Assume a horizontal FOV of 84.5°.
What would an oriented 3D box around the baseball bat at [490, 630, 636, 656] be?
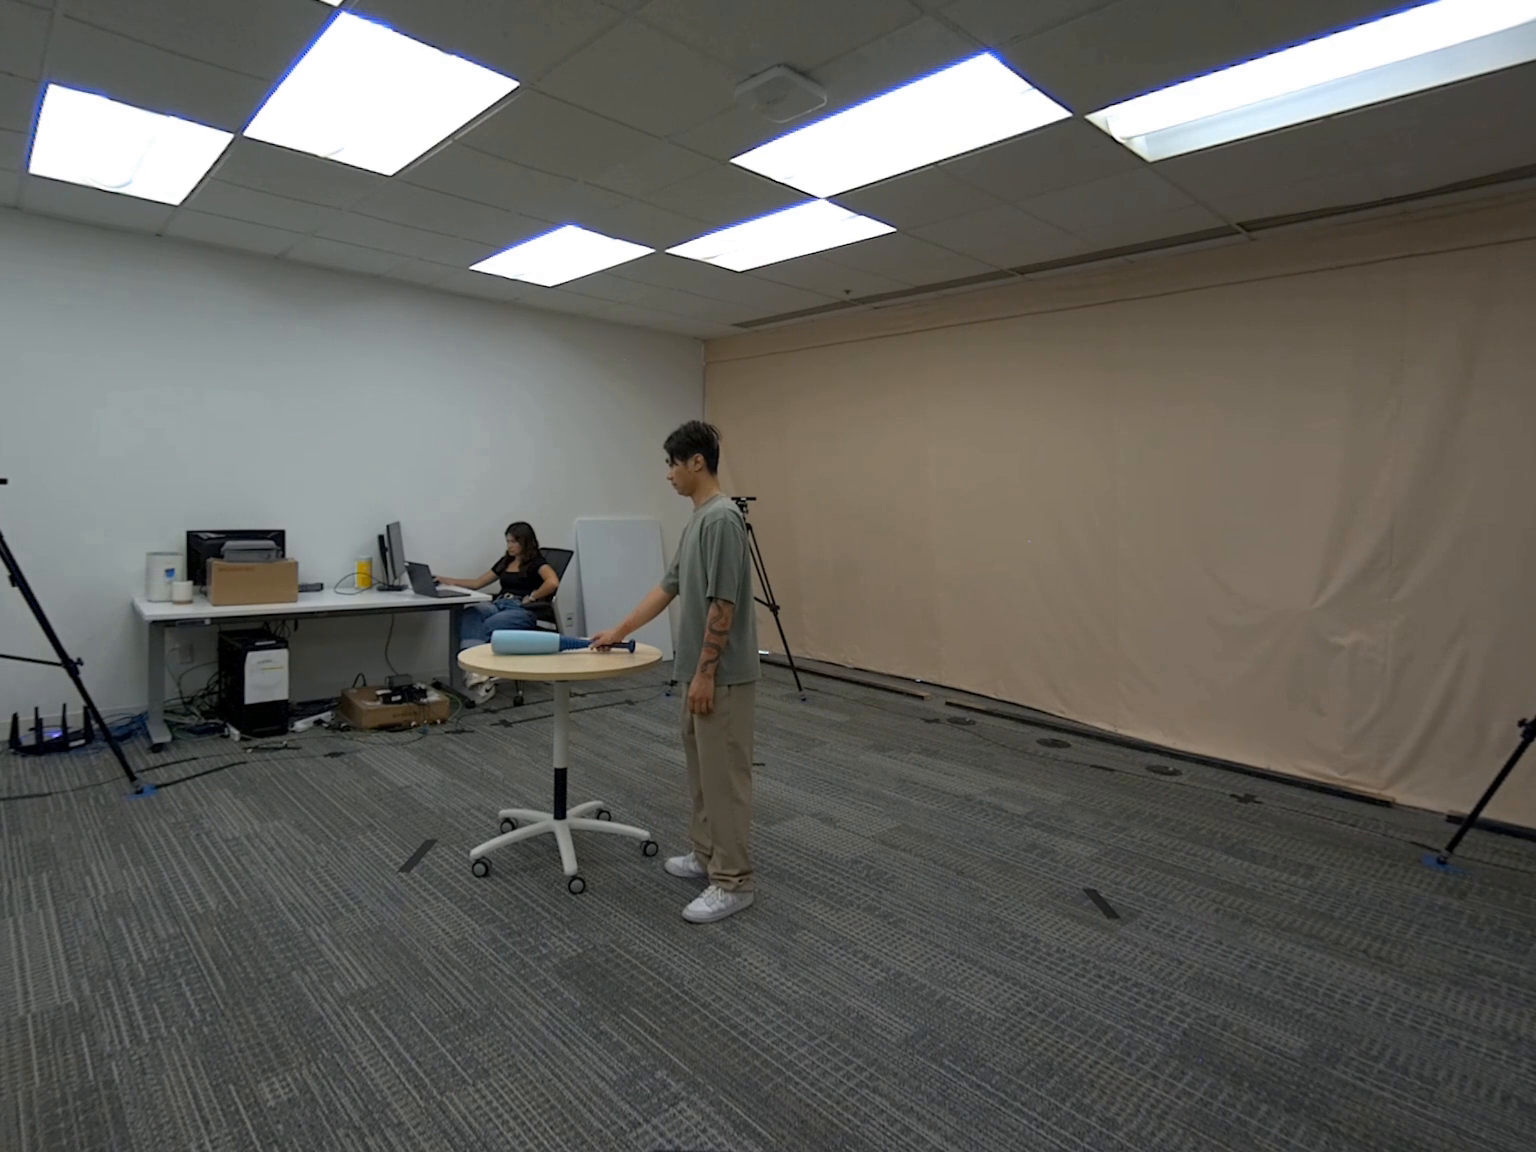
[{"bbox_3d":[-0.782,0.260,3.225,0.537,0.089,0.090,3,4,-13],"label":"baseball bat"}]
